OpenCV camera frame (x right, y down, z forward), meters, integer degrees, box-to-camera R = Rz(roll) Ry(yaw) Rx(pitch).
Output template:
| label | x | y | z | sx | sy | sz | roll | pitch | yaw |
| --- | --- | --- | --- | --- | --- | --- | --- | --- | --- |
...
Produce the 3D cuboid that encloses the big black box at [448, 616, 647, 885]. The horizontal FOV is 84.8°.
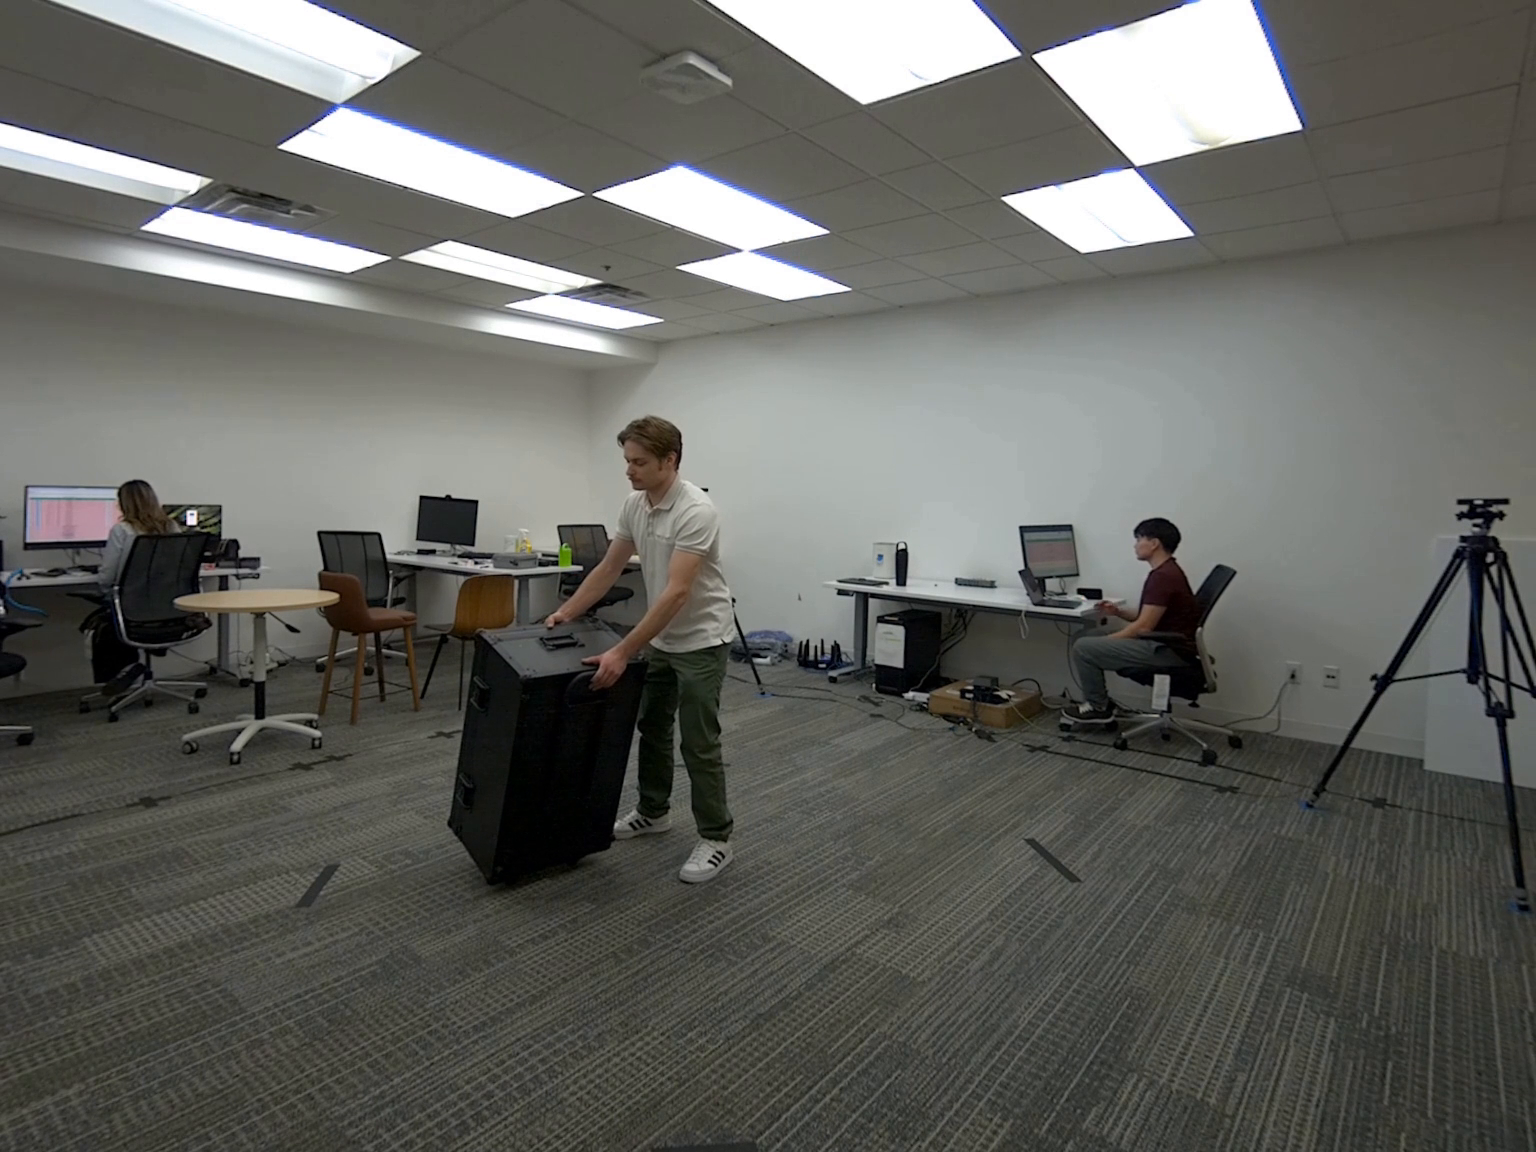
| label | x | y | z | sx | sy | sz | roll | pitch | yaw |
| --- | --- | --- | --- | --- | --- | --- | --- | --- | --- |
| big black box | -0.799 | 0.633 | 3.020 | 0.507 | 0.859 | 0.401 | -3 | 22 | -43 |
